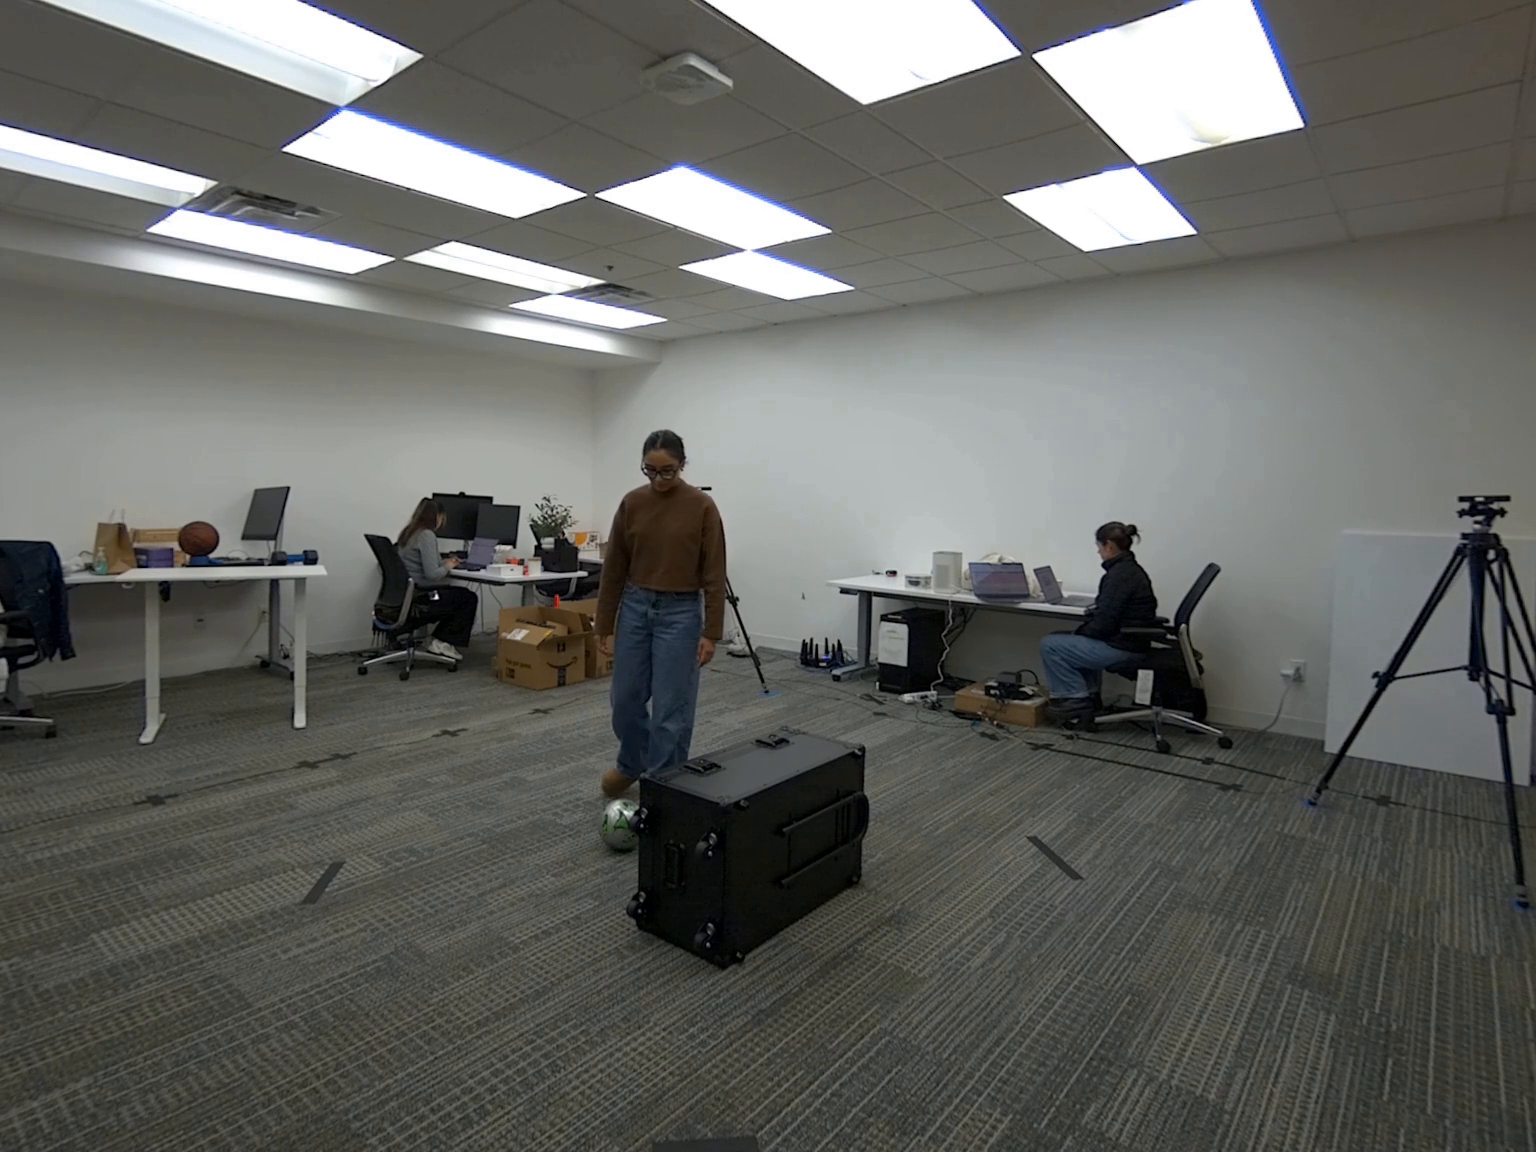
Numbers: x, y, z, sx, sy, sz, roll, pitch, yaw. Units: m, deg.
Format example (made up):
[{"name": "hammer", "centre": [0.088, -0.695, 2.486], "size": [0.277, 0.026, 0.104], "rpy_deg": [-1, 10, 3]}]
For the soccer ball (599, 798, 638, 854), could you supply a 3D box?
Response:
[{"name": "soccer ball", "centre": [-0.581, 0.947, 3.269], "size": [0.187, 0.187, 0.188], "rpy_deg": [1, 4, -2]}]
